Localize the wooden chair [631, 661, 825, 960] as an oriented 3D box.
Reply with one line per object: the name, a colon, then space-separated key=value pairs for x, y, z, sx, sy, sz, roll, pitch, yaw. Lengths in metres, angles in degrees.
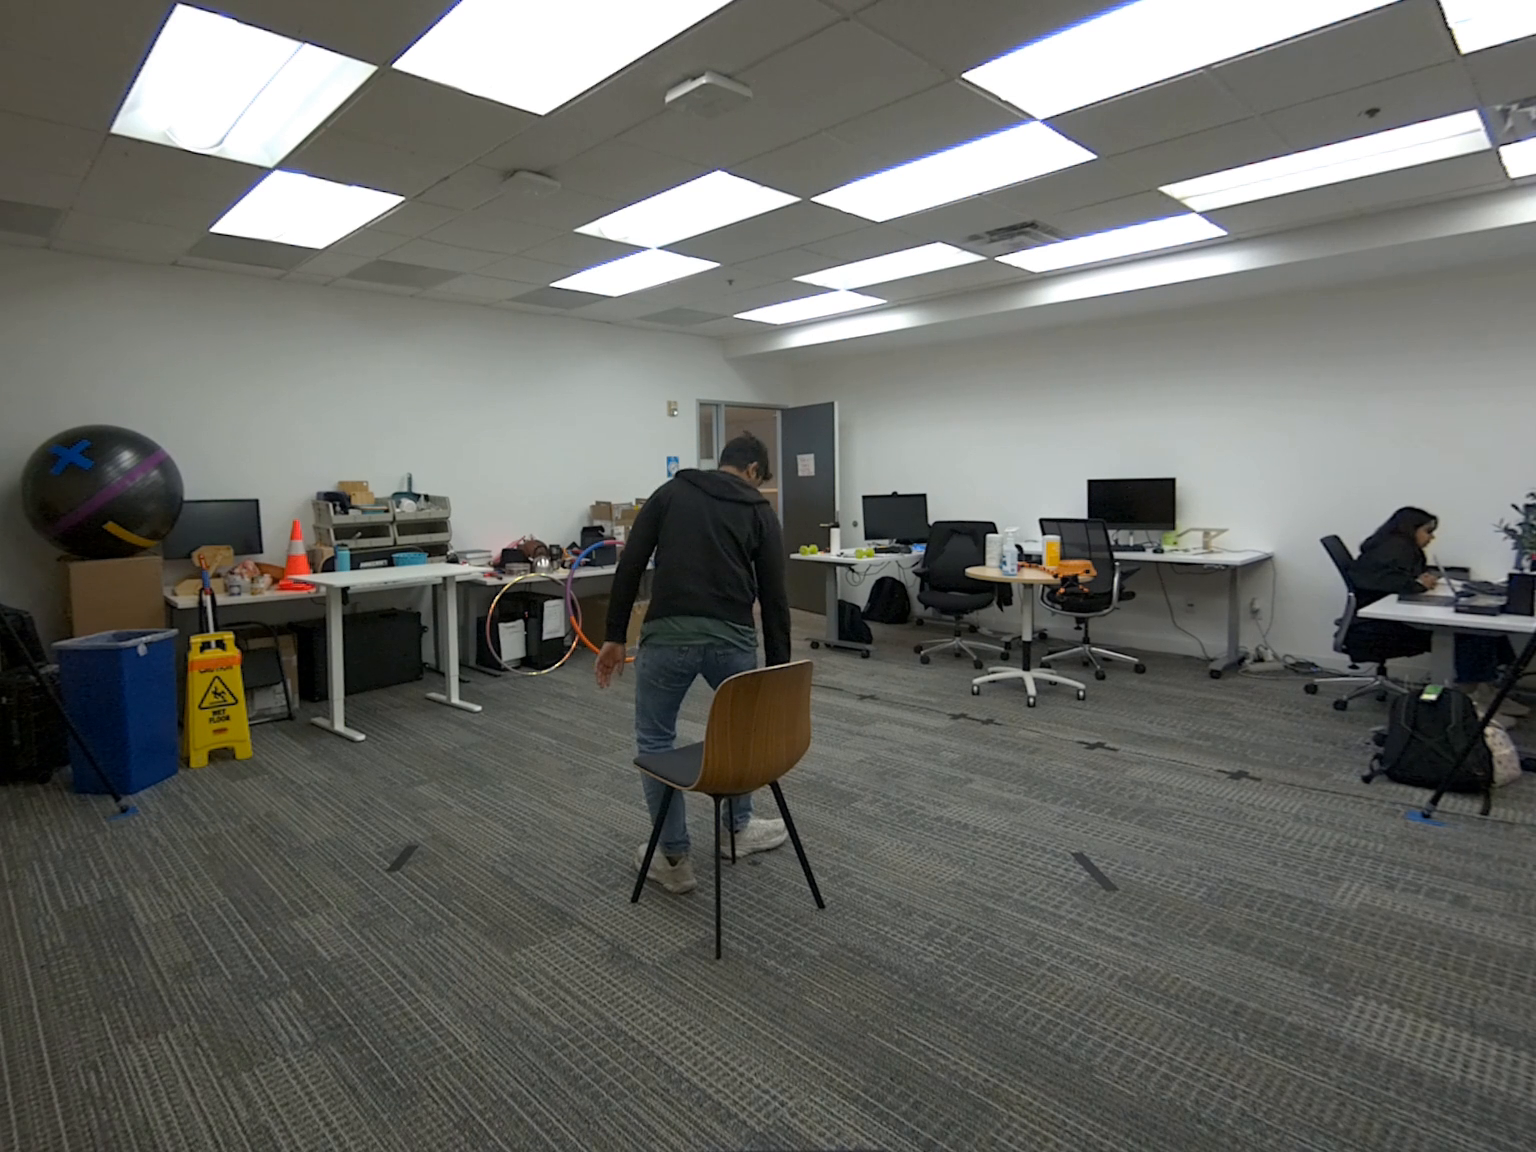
wooden chair: x=-0.137 y=0.660 z=2.772 sx=0.466 sy=0.871 sz=0.540 roll=-5 pitch=10 yaw=-41
